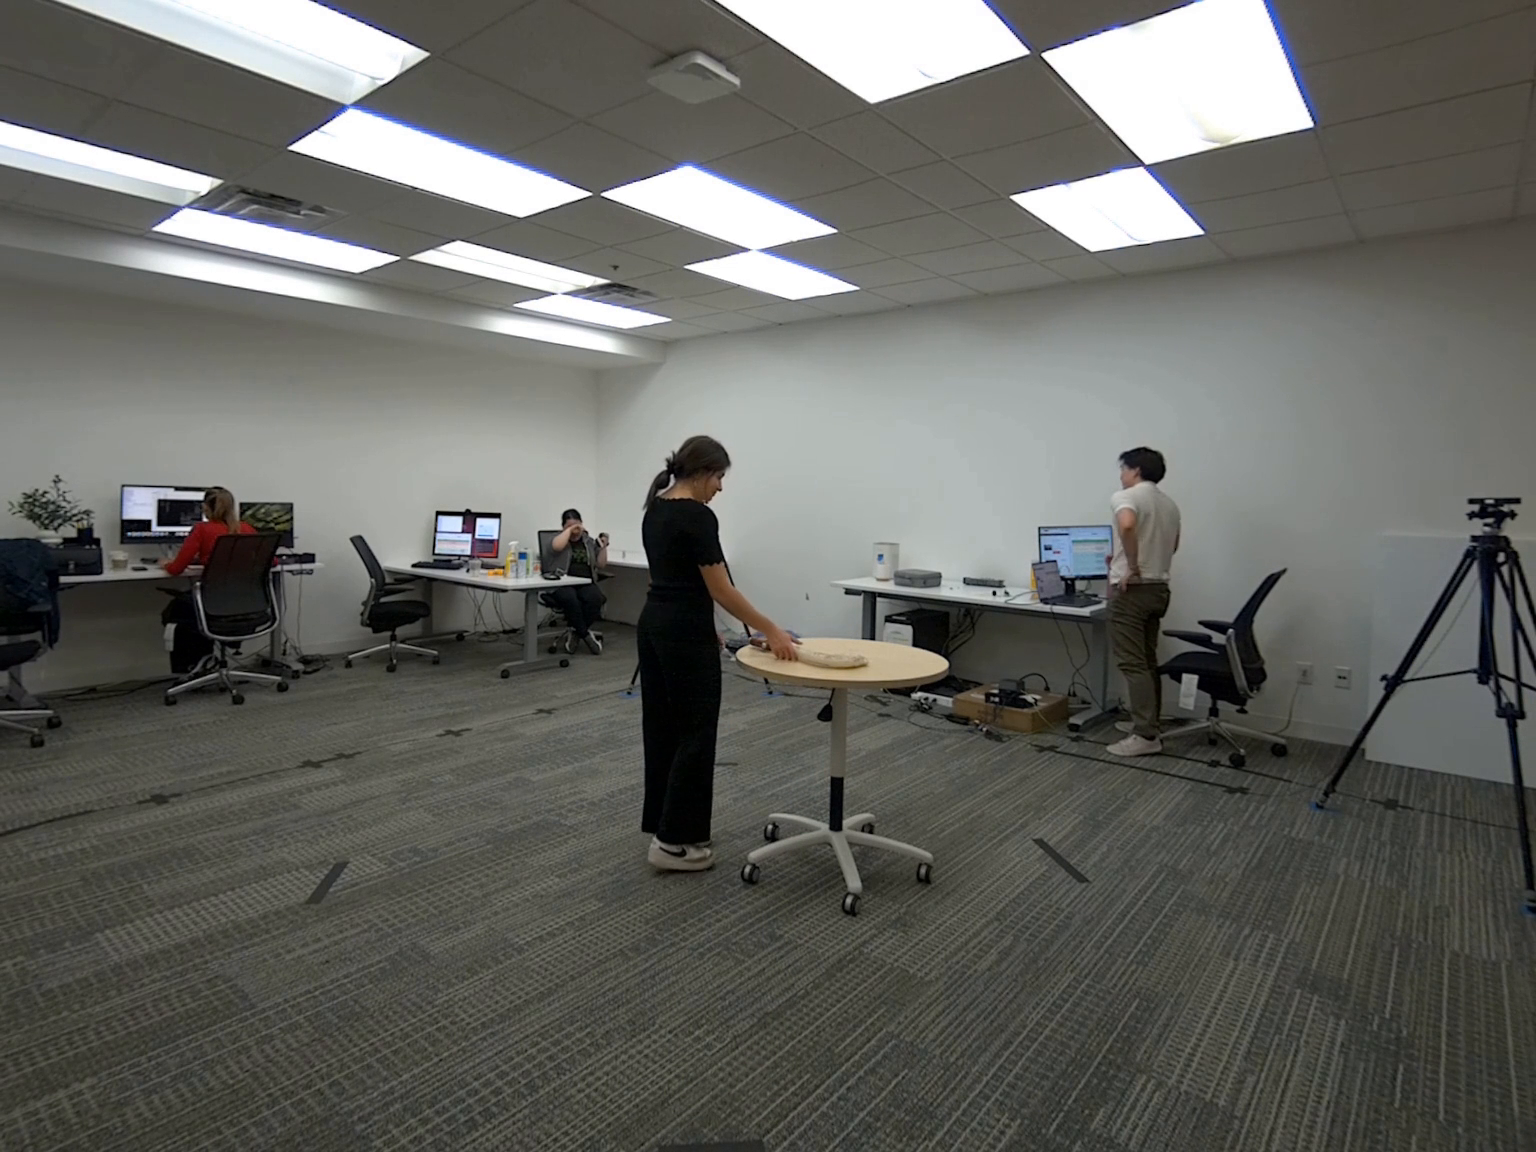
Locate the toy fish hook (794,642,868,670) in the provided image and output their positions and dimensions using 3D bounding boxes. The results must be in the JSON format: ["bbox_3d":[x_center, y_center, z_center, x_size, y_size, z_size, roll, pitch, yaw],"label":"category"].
[{"bbox_3d":[0.140,0.284,3.121,0.217,0.048,0.524,8,-1,-42],"label":"toy fish hook"}]
